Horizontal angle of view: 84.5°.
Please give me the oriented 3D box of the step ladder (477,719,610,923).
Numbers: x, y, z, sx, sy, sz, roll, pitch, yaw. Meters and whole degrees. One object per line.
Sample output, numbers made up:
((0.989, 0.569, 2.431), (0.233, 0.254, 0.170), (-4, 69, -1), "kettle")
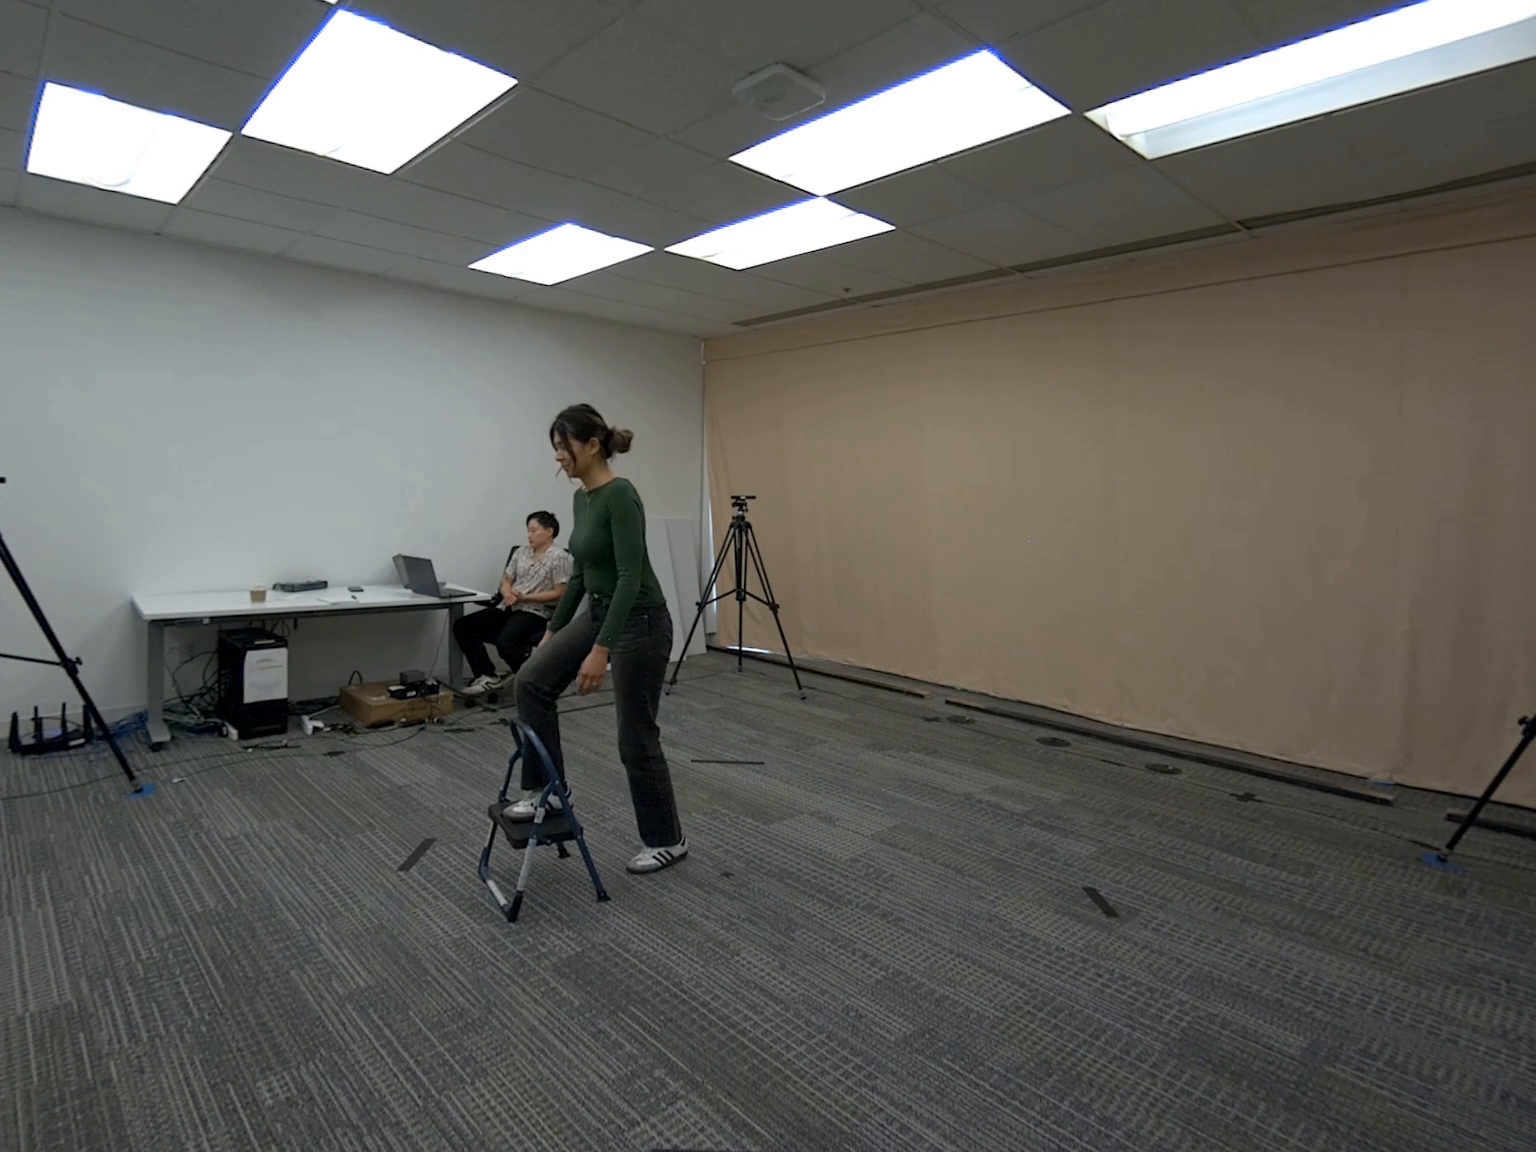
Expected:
((-0.802, 0.801, 2.959), (0.342, 0.604, 0.441), (-1, 4, -33), "step ladder")
